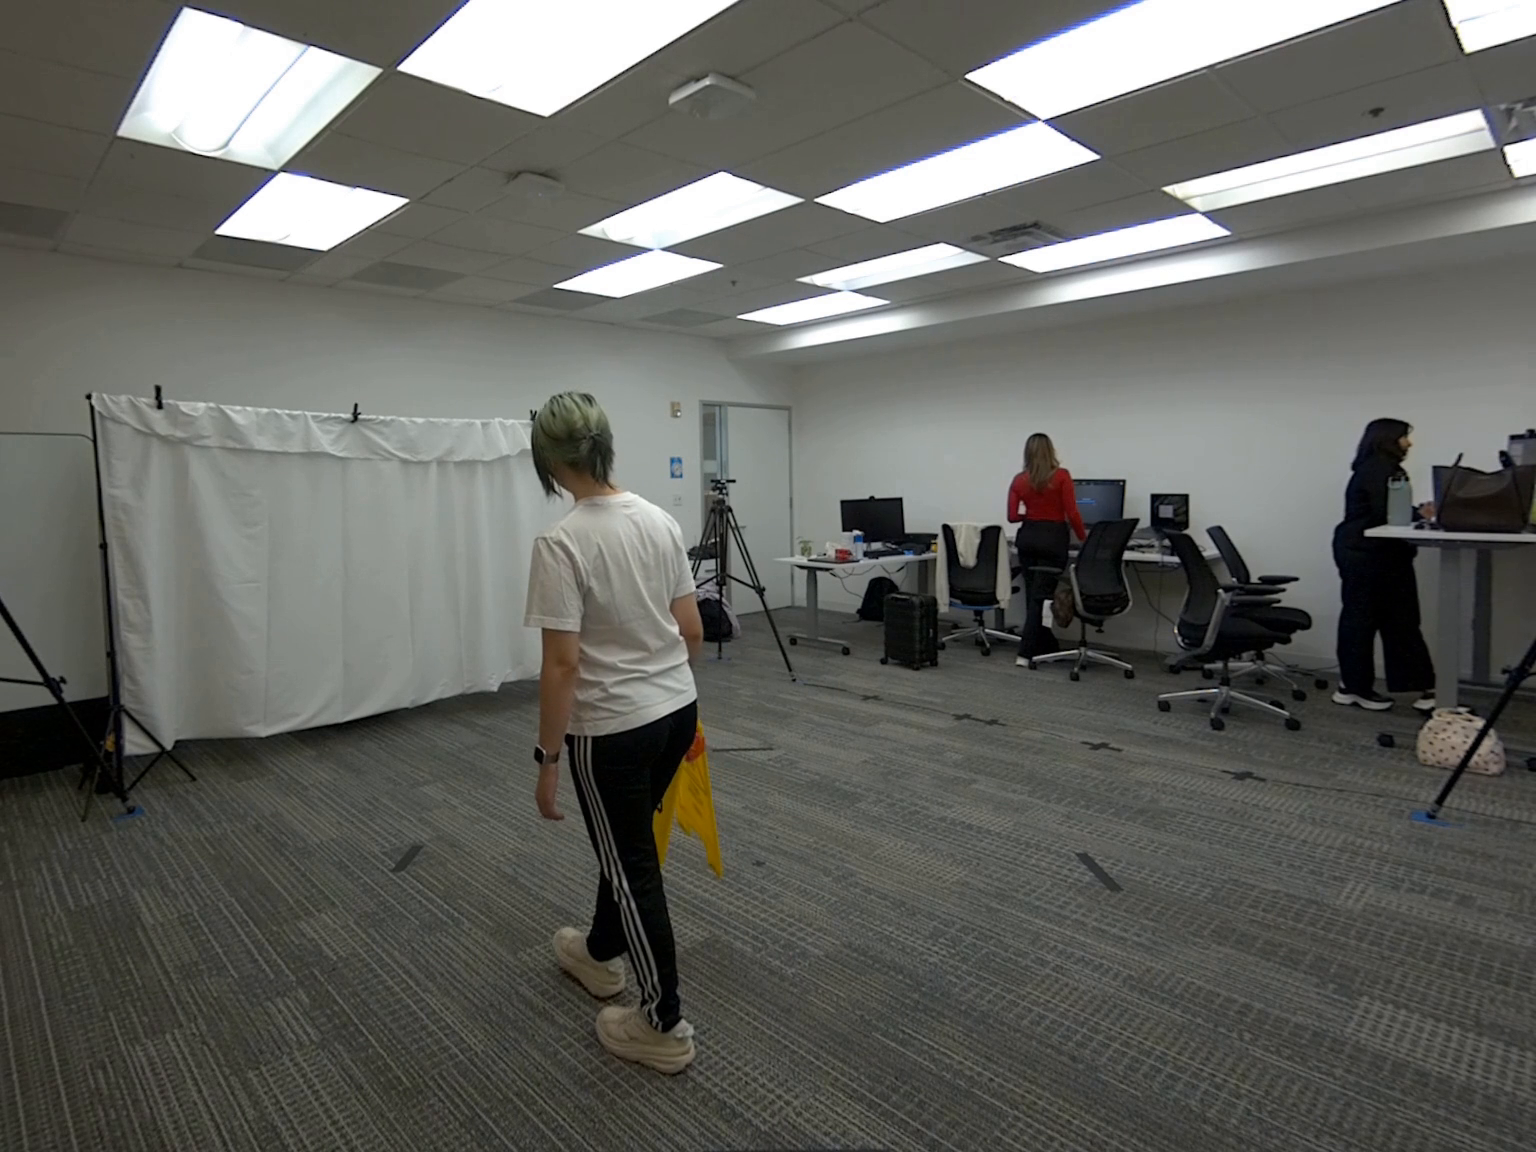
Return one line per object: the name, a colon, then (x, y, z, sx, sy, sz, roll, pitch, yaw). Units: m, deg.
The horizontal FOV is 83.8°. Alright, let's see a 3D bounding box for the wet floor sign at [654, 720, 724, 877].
wet floor sign: (-0.285, 0.597, 2.529, 0.283, 0.636, 0.293, -8, 25, -32)
